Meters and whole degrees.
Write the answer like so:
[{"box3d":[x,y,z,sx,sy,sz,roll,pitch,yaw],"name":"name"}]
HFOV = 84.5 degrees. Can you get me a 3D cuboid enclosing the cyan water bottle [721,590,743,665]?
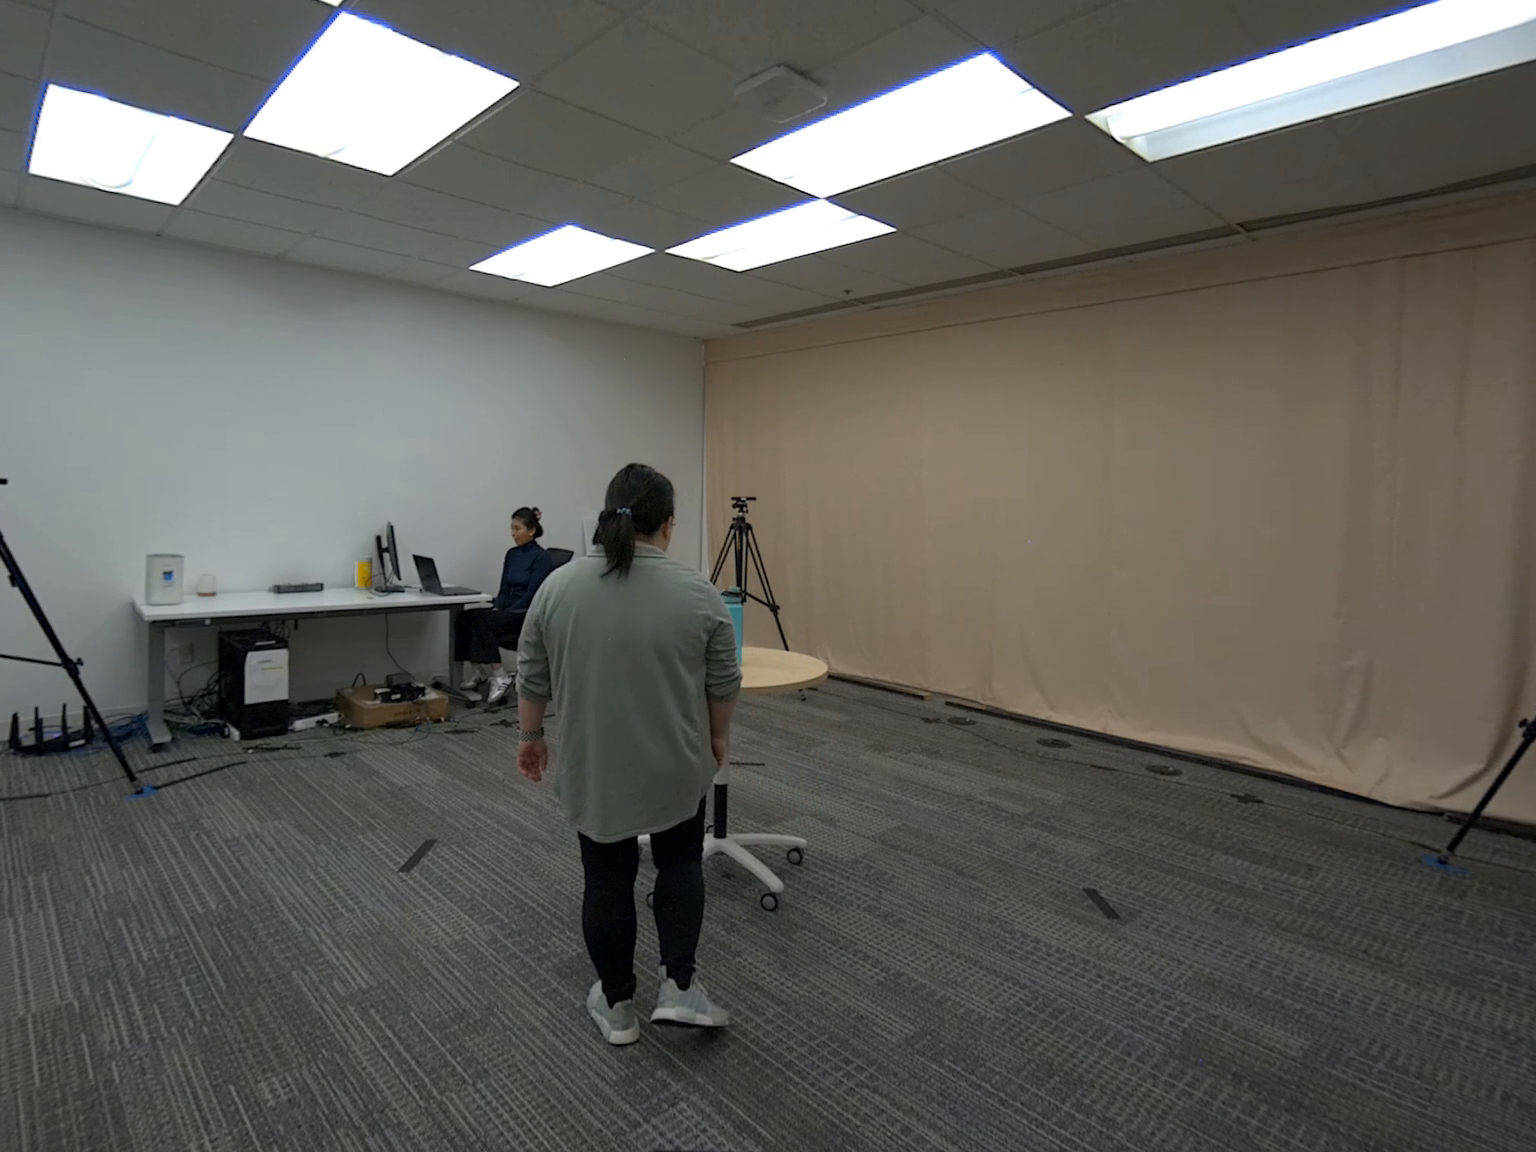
[{"box3d":[-0.141,0.188,3.068,0.092,0.283,0.092,0,2,-1],"name":"cyan water bottle"}]
